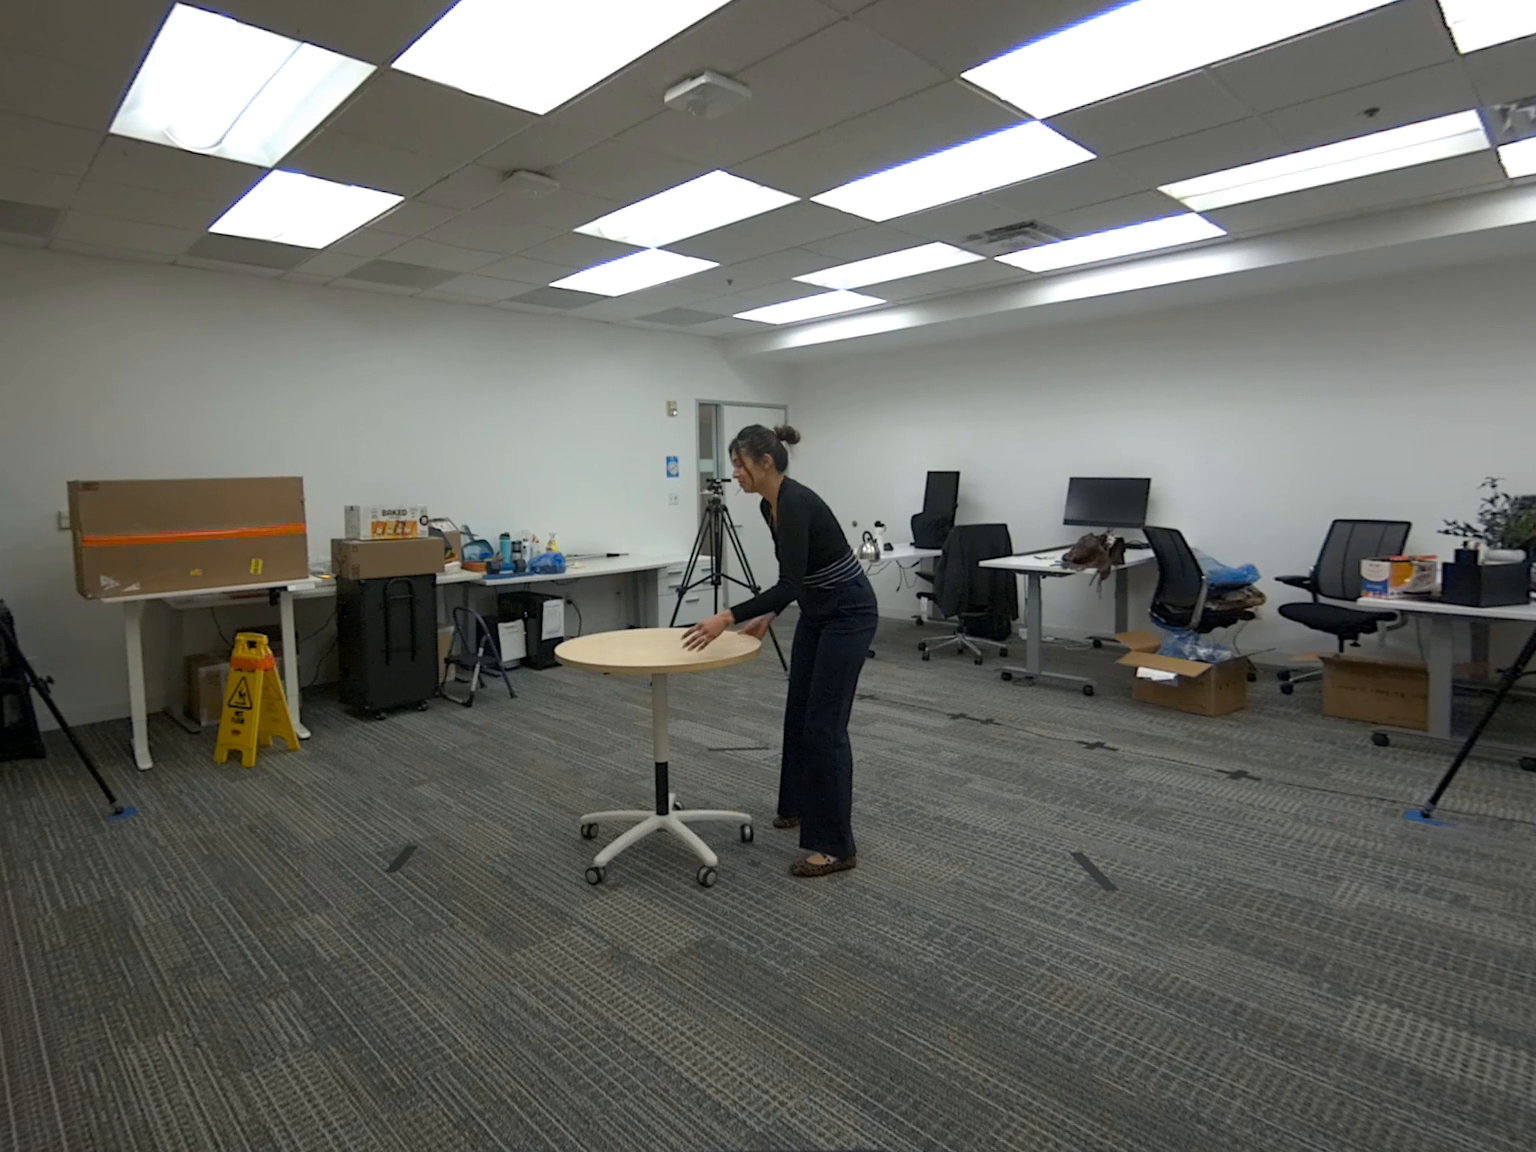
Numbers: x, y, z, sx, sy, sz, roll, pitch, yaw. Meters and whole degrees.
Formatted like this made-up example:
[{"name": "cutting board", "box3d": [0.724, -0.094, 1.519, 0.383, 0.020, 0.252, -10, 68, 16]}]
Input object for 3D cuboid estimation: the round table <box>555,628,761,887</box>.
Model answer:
[{"name": "round table", "box3d": [-0.406, 0.650, 3.213, 0.763, 0.791, 0.767, -1, 4, -2]}]
